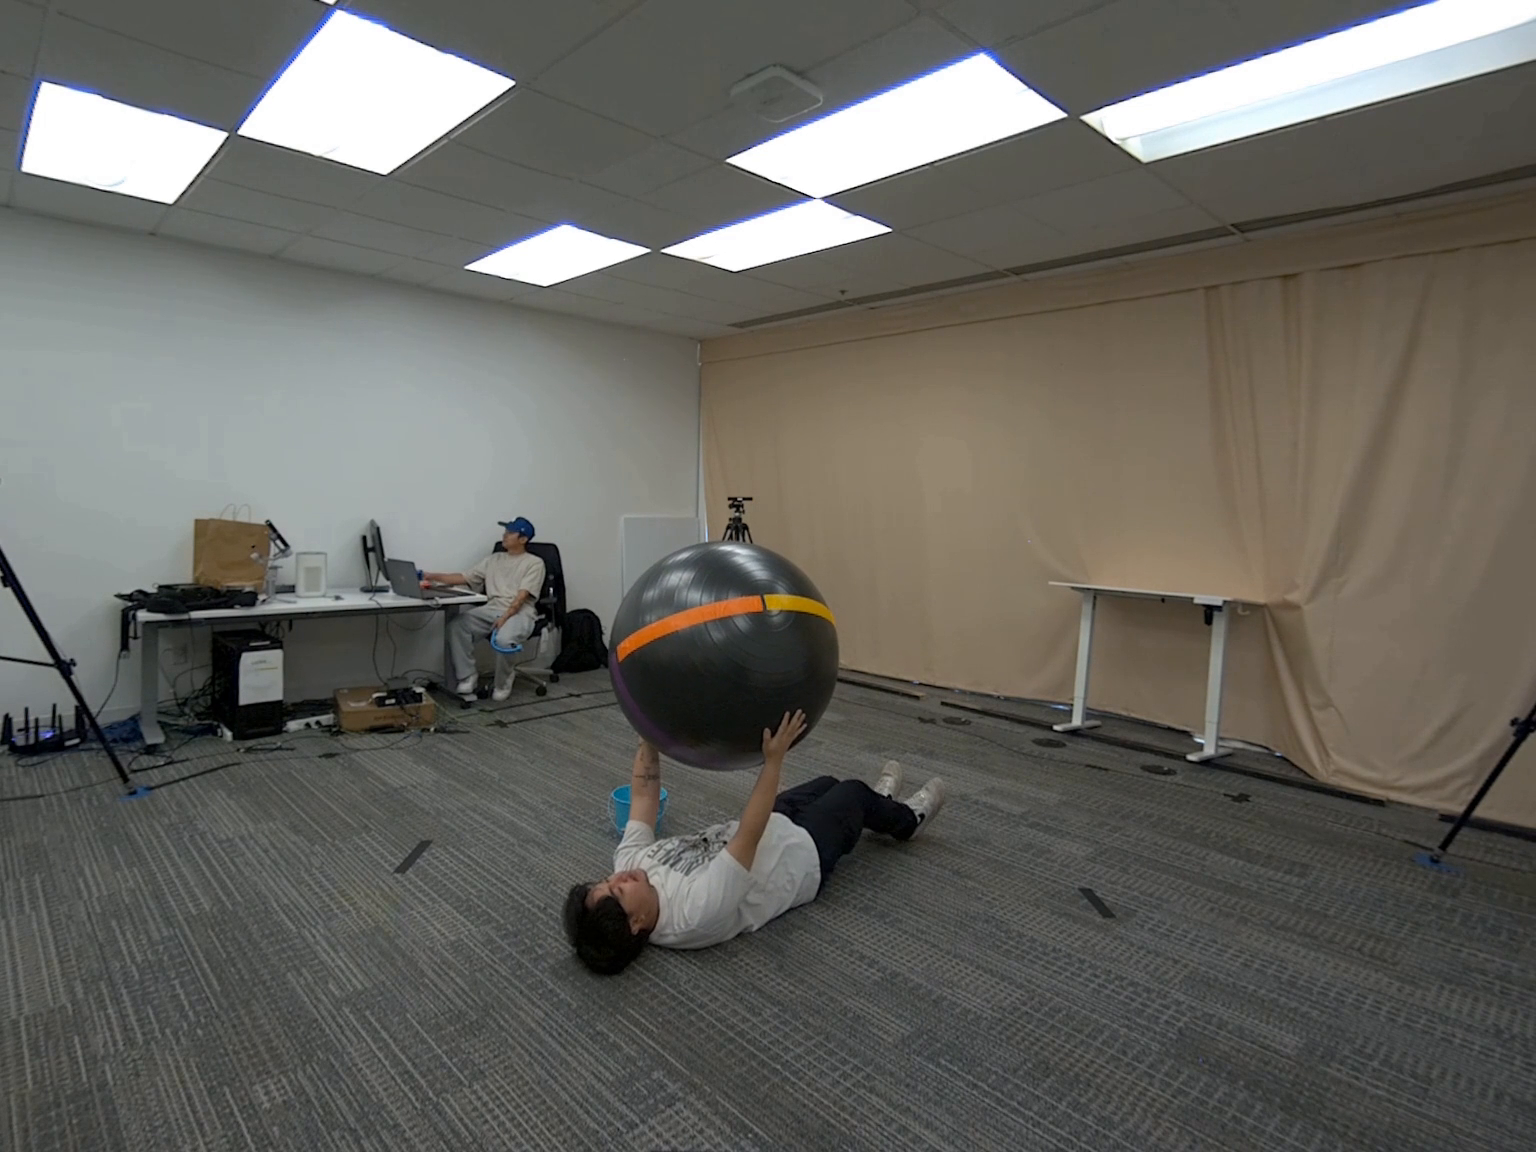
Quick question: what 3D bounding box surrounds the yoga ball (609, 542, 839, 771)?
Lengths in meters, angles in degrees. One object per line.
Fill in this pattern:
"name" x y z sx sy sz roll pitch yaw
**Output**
"yoga ball" -0.148 0.266 2.793 0.757 0.756 0.761 1 4 -1
